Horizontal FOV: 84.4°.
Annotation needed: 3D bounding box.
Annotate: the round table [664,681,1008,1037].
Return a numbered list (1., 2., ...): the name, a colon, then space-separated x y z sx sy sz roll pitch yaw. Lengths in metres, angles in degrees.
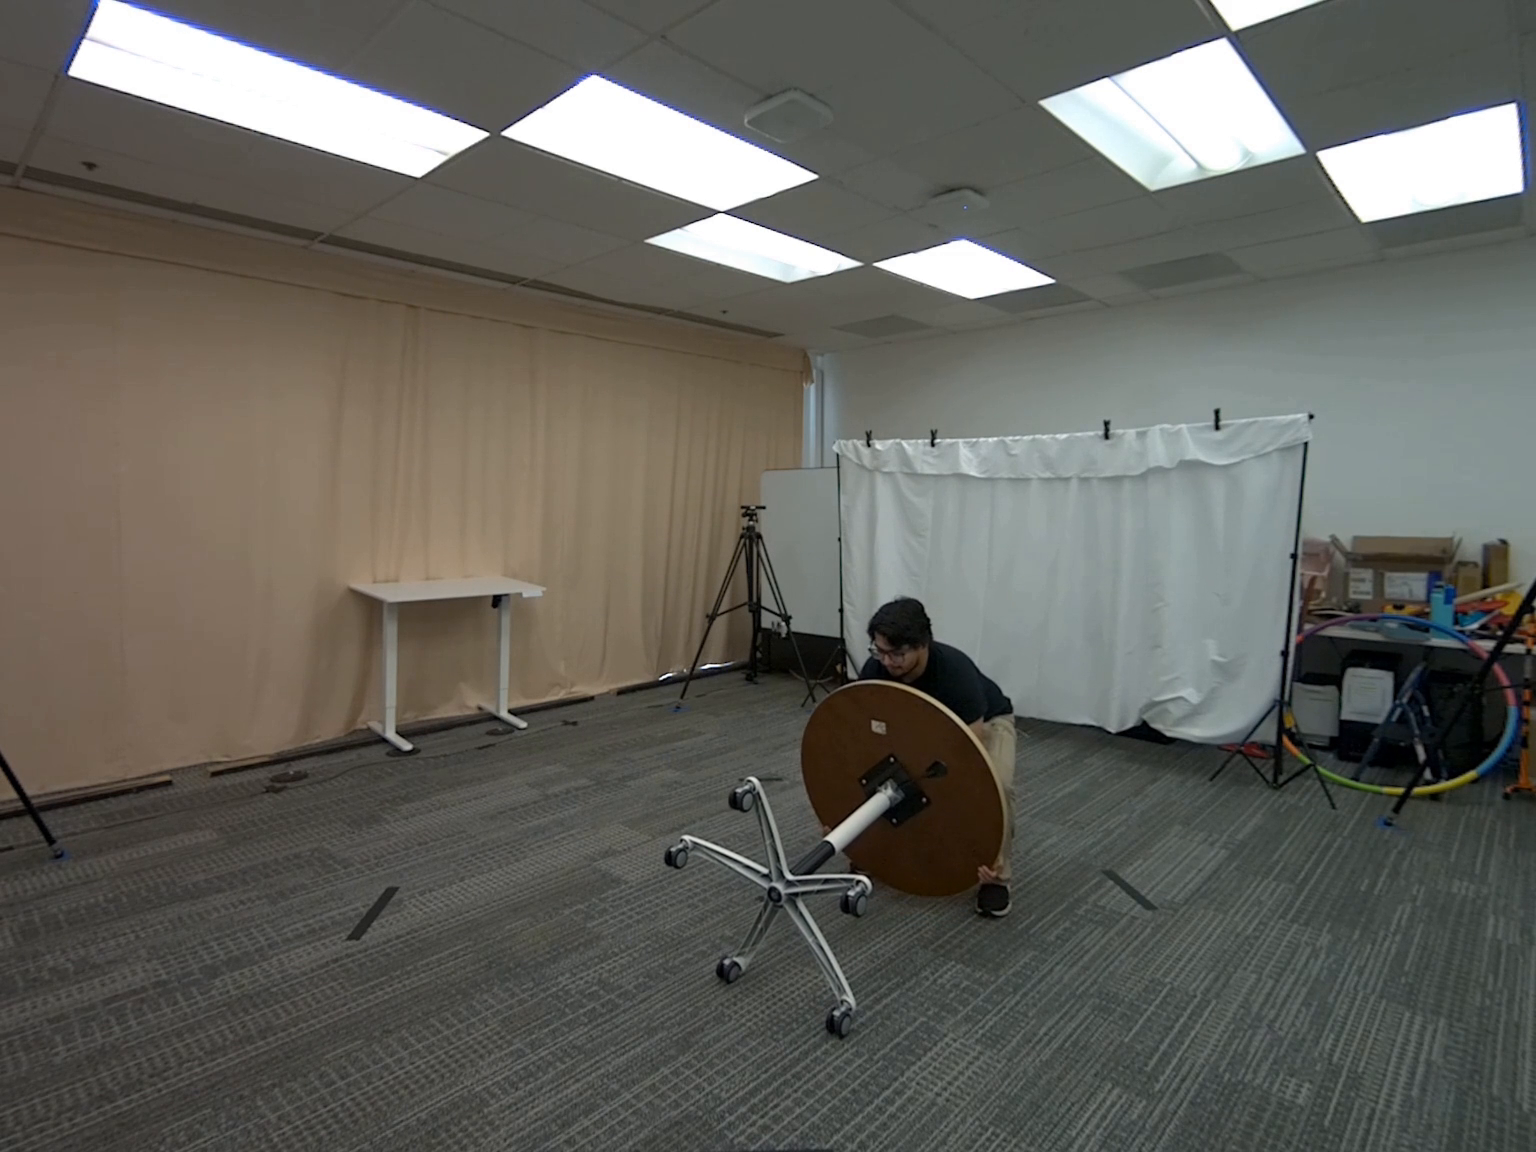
1. round table: 0.208 0.824 2.588 0.811 0.778 0.768 3 16 40
